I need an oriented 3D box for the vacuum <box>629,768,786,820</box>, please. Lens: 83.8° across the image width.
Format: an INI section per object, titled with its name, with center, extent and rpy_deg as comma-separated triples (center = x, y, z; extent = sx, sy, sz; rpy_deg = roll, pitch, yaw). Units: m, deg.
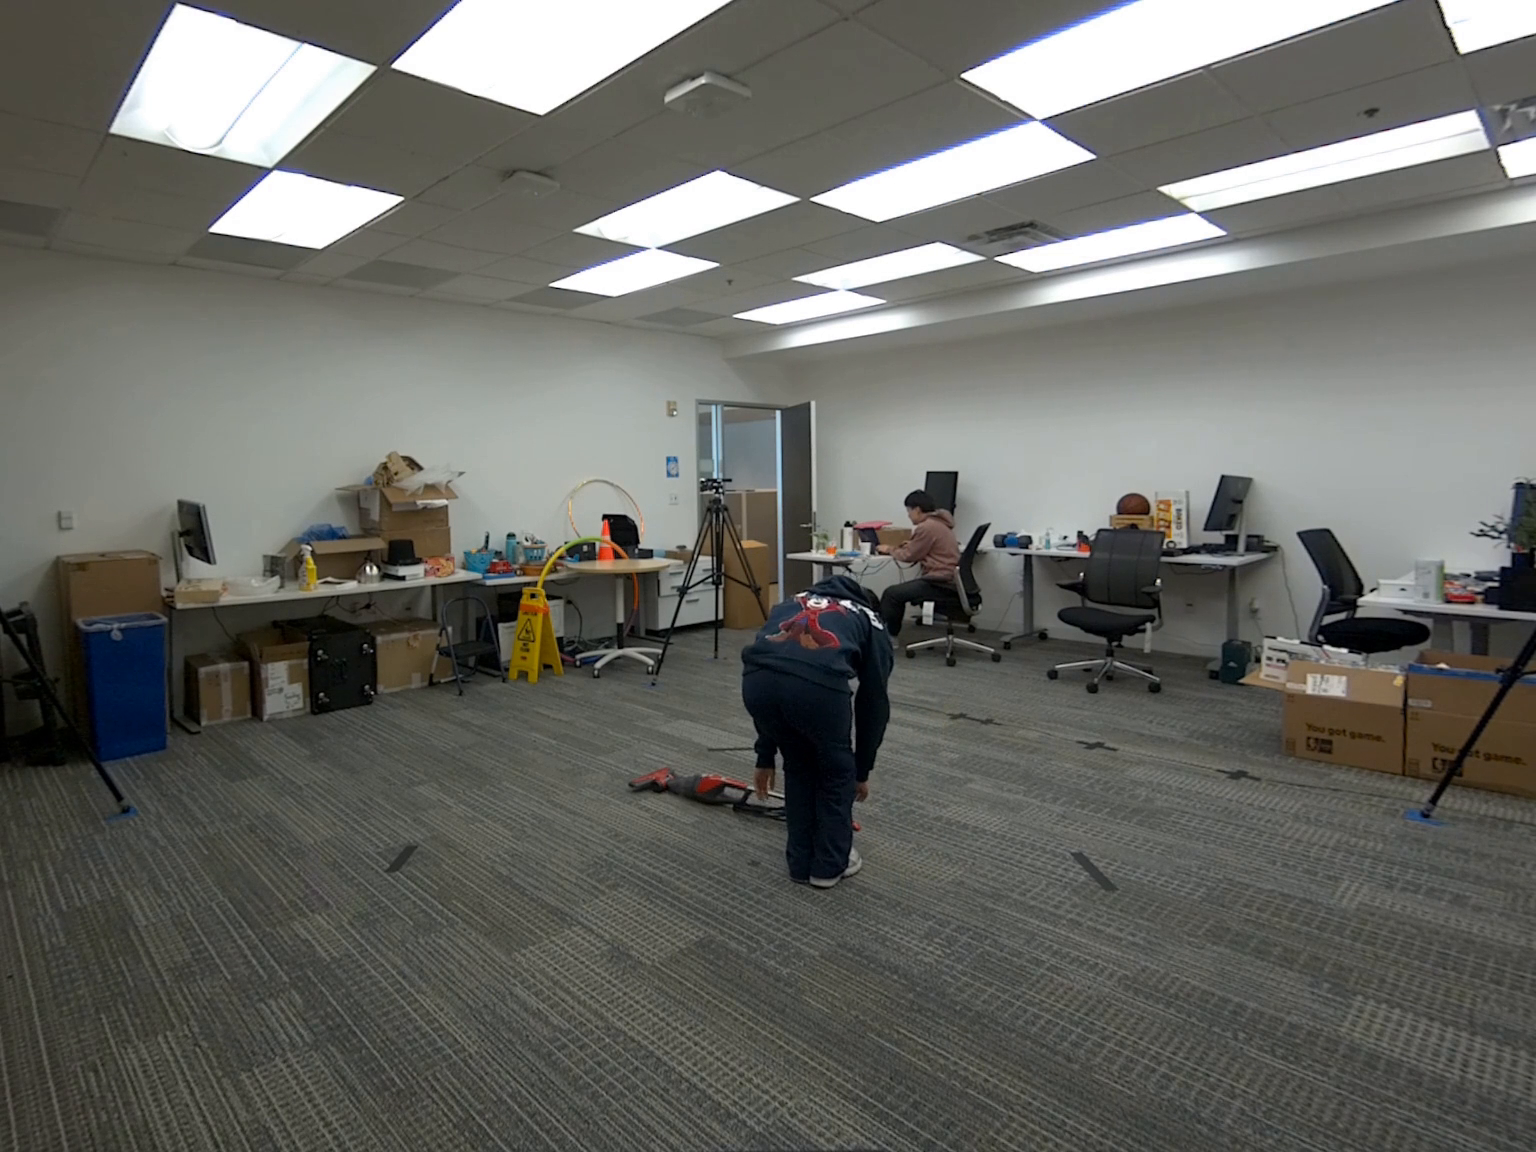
[vacuum]
center = -0.092, 0.942, 3.572
extent = 1.080, 0.144, 0.245
rpy_deg = 2, 3, 39
